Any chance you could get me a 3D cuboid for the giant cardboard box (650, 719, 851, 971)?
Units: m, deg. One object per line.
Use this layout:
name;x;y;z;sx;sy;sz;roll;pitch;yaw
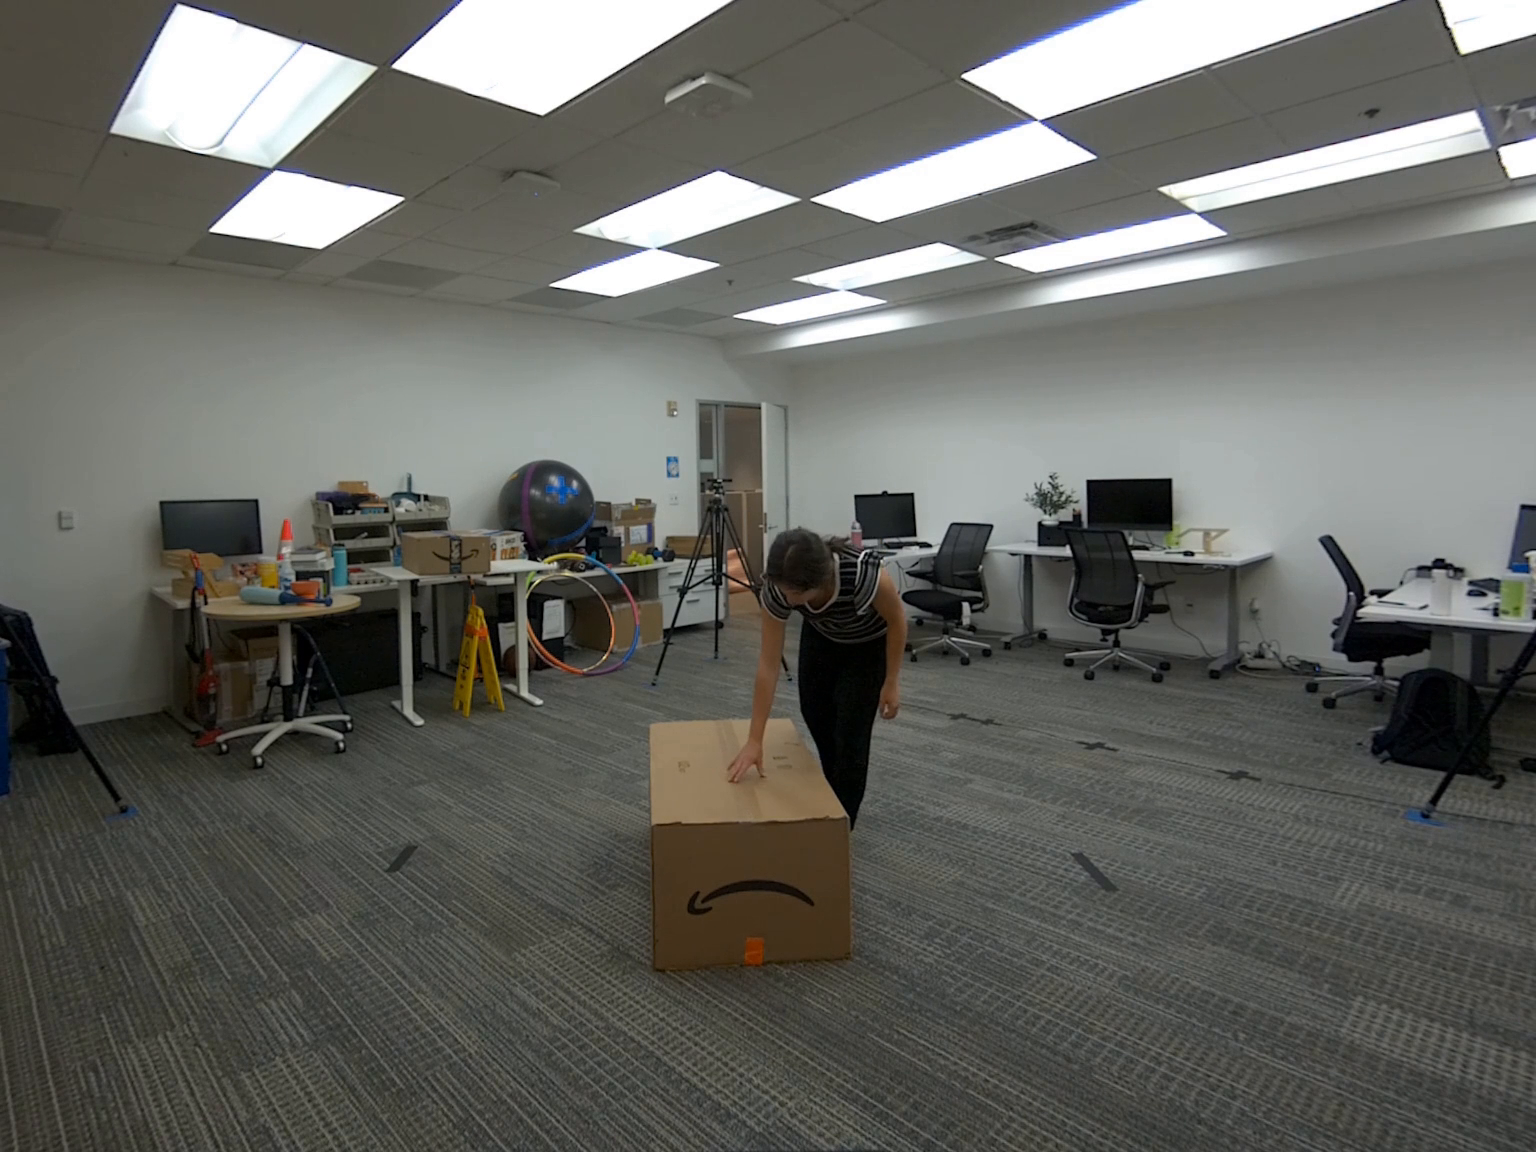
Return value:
giant cardboard box;-0.117;0.853;2.945;0.574;0.424;1.036;-1;6;-7
